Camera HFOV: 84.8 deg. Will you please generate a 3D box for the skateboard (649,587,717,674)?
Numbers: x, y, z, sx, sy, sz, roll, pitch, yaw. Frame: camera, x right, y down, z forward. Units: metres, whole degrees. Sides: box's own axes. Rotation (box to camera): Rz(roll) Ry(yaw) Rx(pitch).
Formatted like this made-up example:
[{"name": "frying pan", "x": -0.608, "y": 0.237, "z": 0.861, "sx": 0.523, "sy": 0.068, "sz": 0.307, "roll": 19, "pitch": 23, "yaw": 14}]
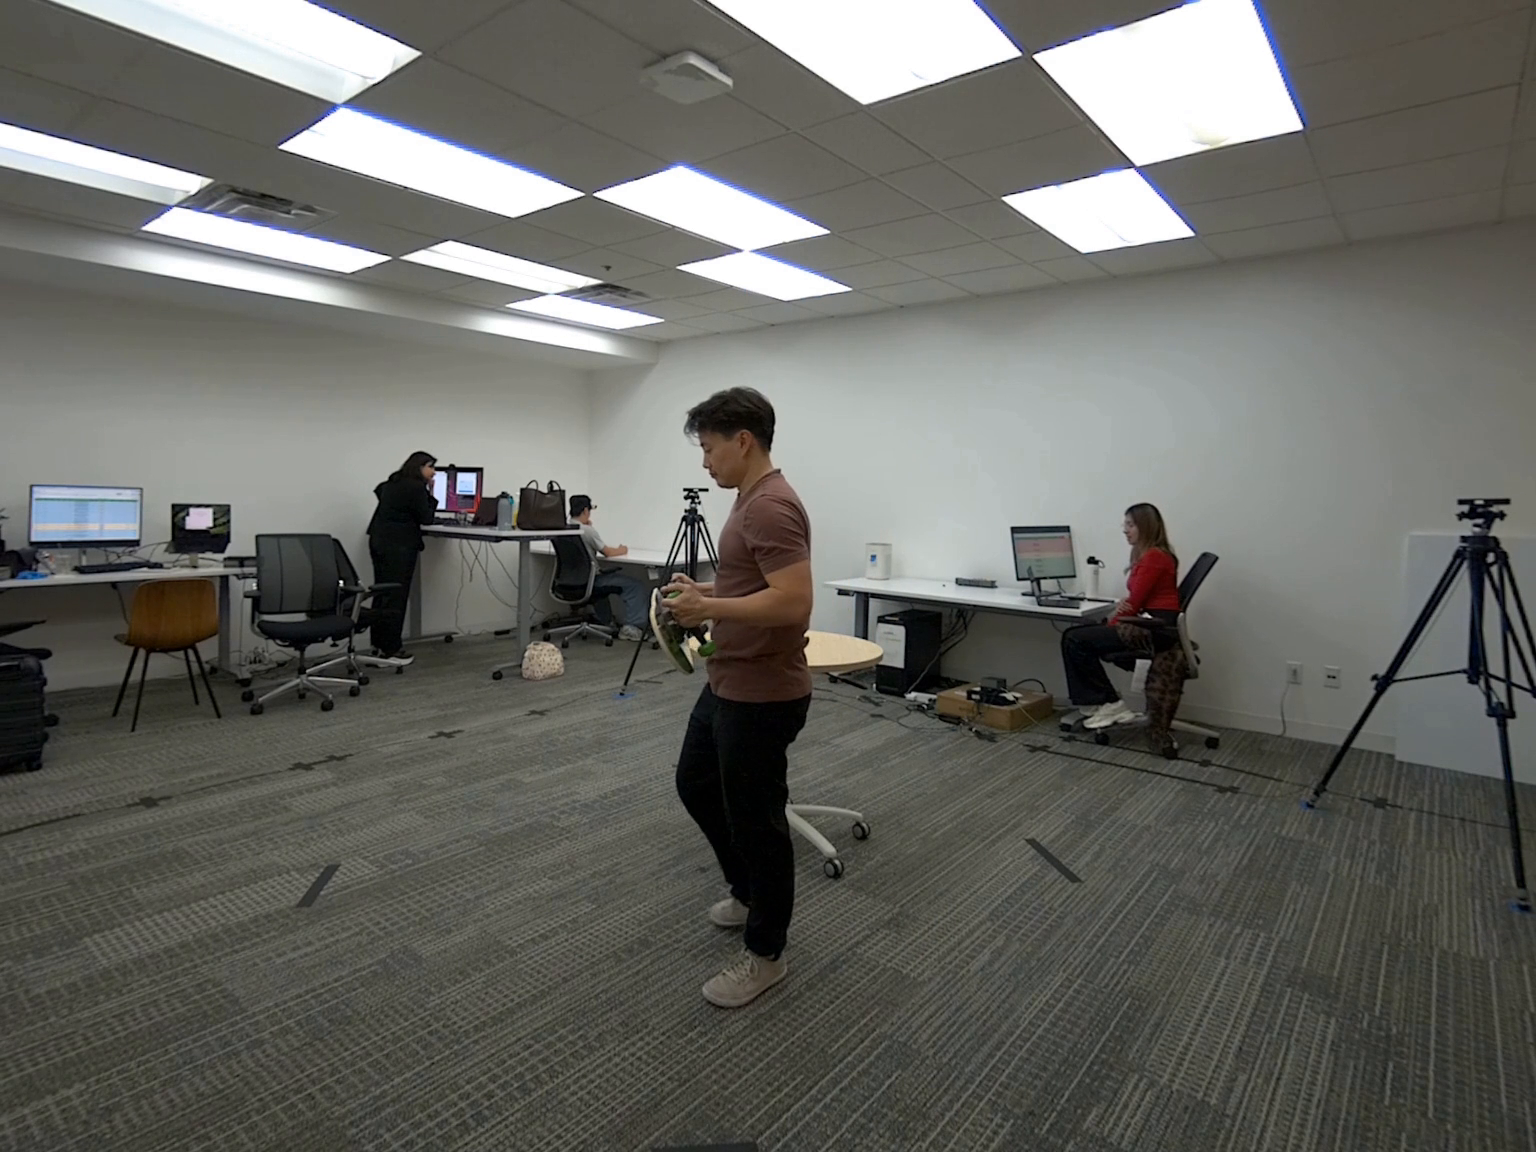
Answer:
[{"name": "skateboard", "x": -0.256, "y": 0.121, "z": 2.383, "sx": 0.110, "sy": 0.192, "sz": 0.793, "roll": -32, "pitch": 7, "yaw": -6}]
